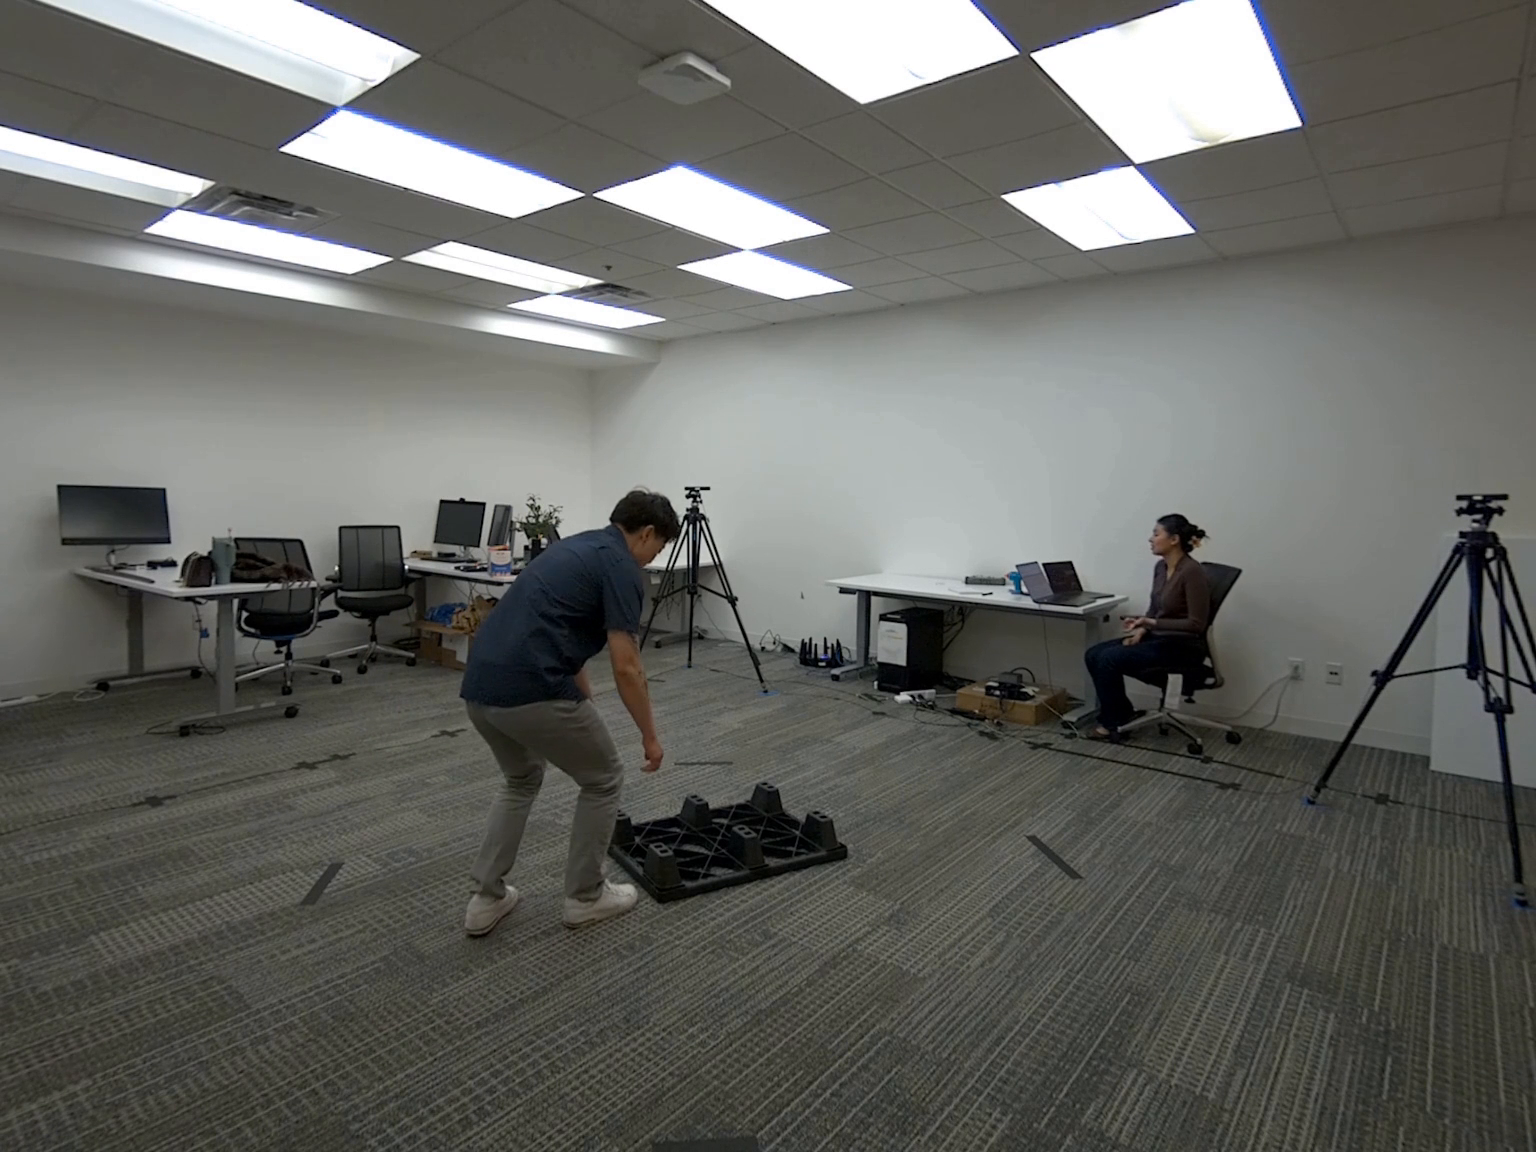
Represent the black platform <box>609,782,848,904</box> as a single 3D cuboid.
[{"bbox_3d":[-0.197,0.981,3.269,0.784,0.143,0.624,-3,7,-32],"label":"black platform"}]
